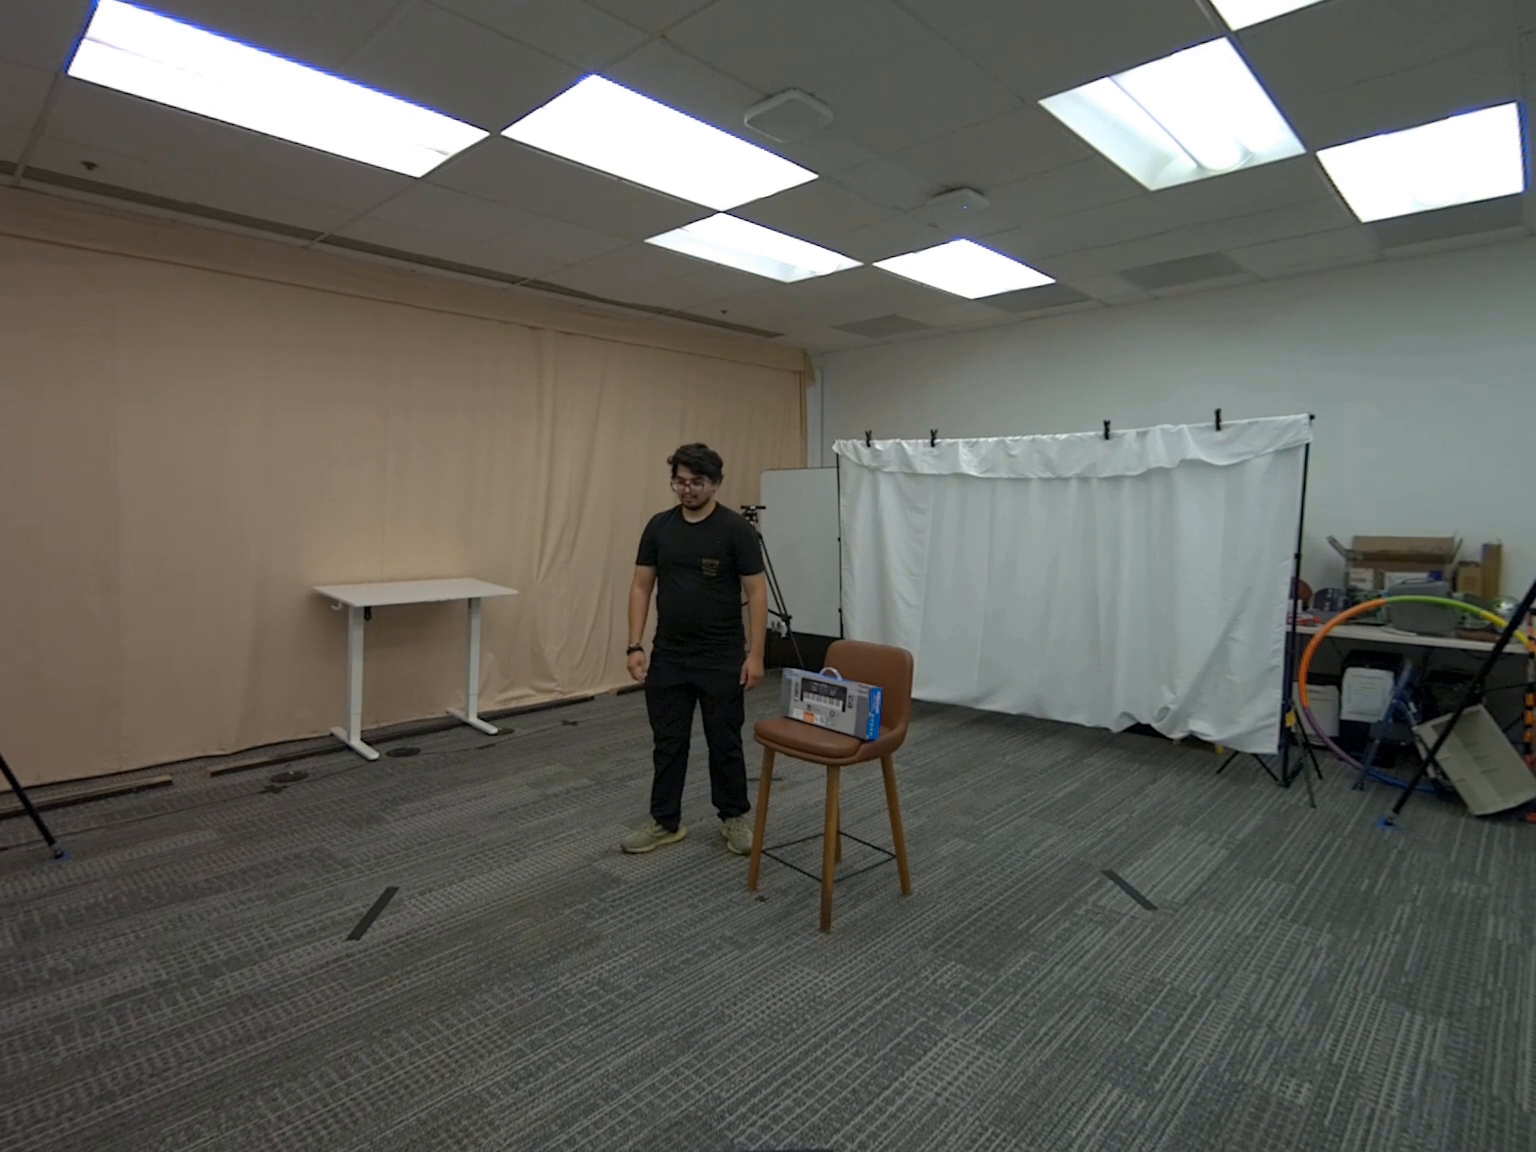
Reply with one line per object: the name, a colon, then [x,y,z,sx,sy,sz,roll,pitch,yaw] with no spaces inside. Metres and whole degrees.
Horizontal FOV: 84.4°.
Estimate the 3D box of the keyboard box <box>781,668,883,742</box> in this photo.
keyboard box: [0.215,0.444,2.965,0.057,0.176,0.451,6,-1,-39]
